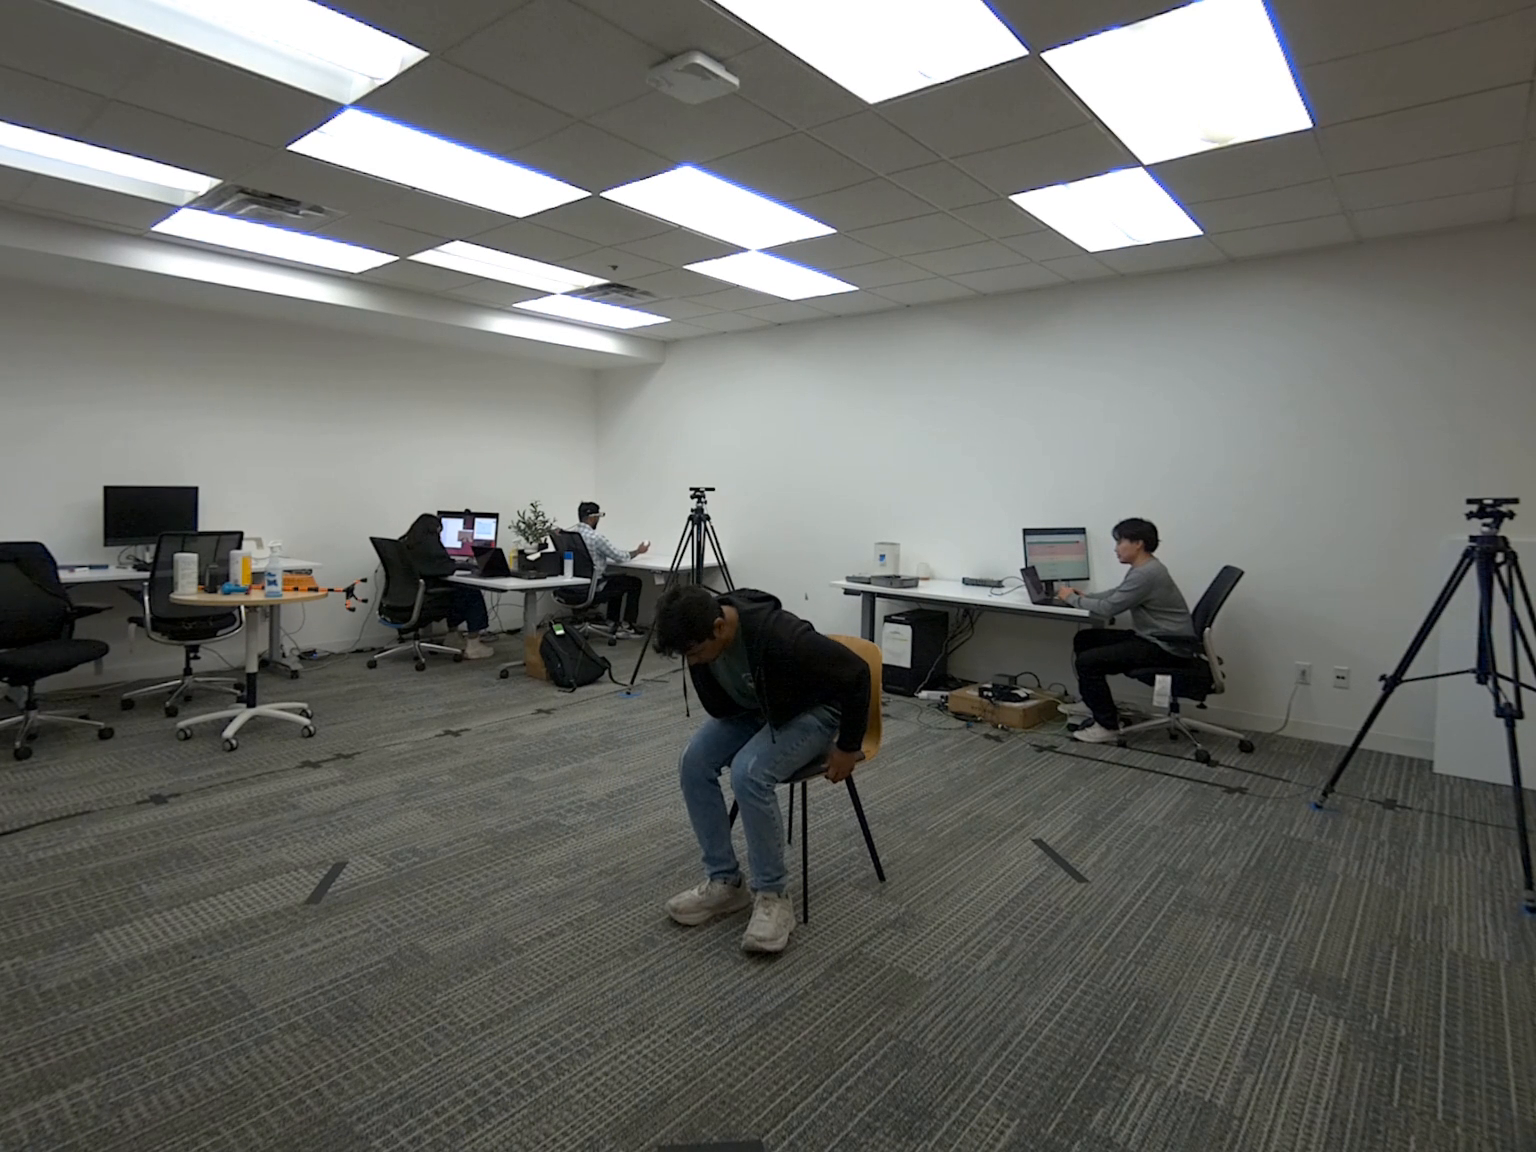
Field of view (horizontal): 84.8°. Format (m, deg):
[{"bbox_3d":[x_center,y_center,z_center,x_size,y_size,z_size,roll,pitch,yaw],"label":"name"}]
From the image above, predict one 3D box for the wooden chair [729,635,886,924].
[{"bbox_3d":[0.093,0.654,3.009,0.495,0.877,0.506,5,2,44],"label":"wooden chair"}]
